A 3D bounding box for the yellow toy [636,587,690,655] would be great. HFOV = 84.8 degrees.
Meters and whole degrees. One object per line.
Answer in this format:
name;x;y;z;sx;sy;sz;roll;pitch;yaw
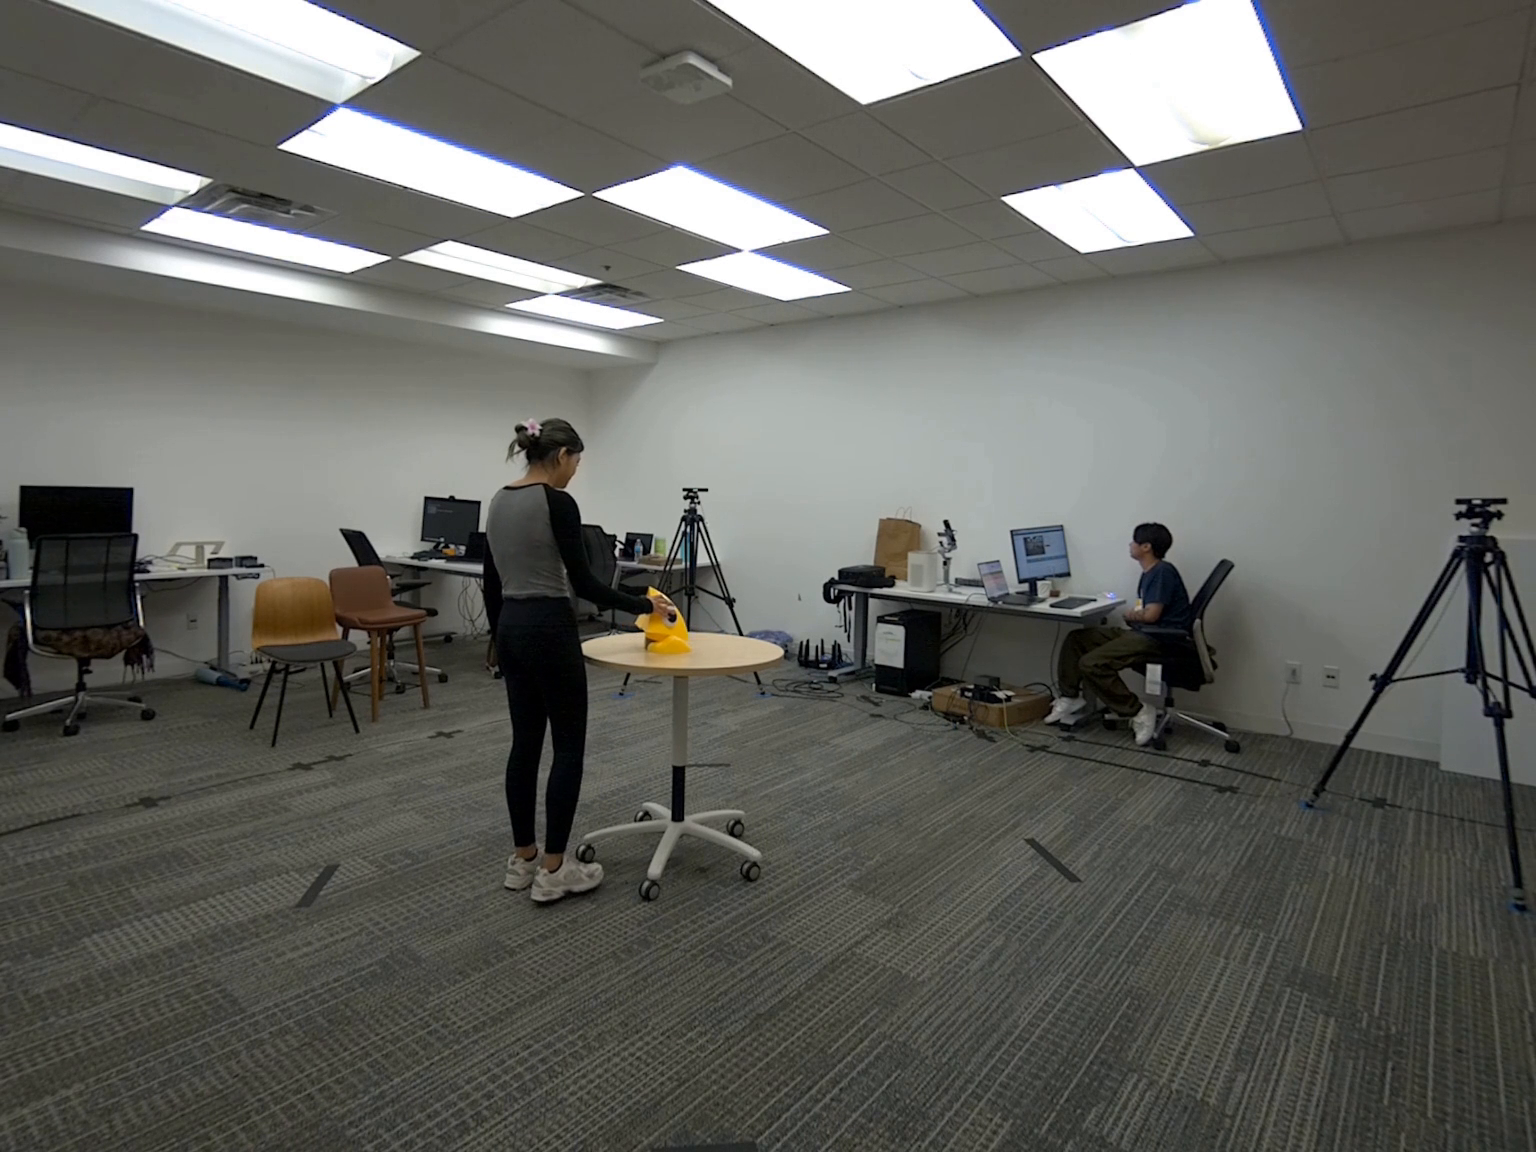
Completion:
yellow toy;-0.395;0.154;3.164;0.189;0.230;0.209;0;4;-19
